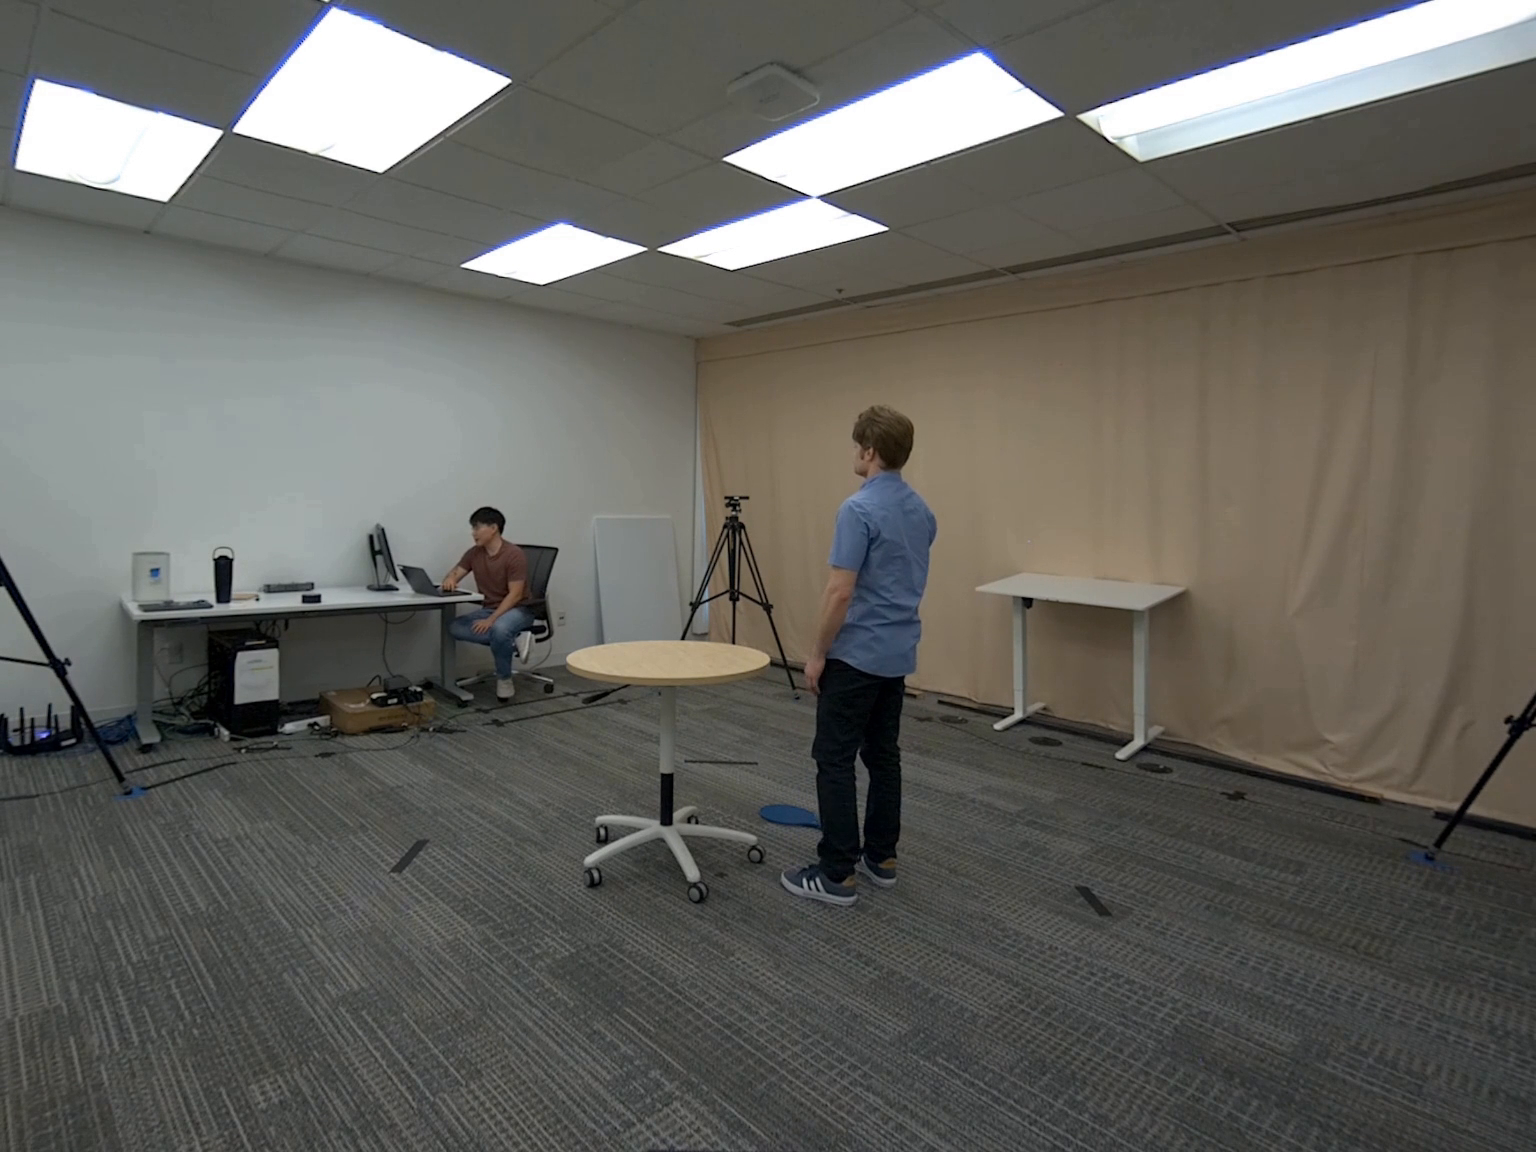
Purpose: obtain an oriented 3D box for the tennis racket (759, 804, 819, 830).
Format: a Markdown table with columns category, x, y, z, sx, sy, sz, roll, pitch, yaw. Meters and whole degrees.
| category | x | y | z | sx | sy | sz | roll | pitch | yaw |
| --- | --- | --- | --- | --- | --- | --- | --- | --- | --- |
| tennis racket | 0.133 | 1.050 | 3.642 | 0.444 | 0.032 | 0.209 | 5 | 5 | 43 |
